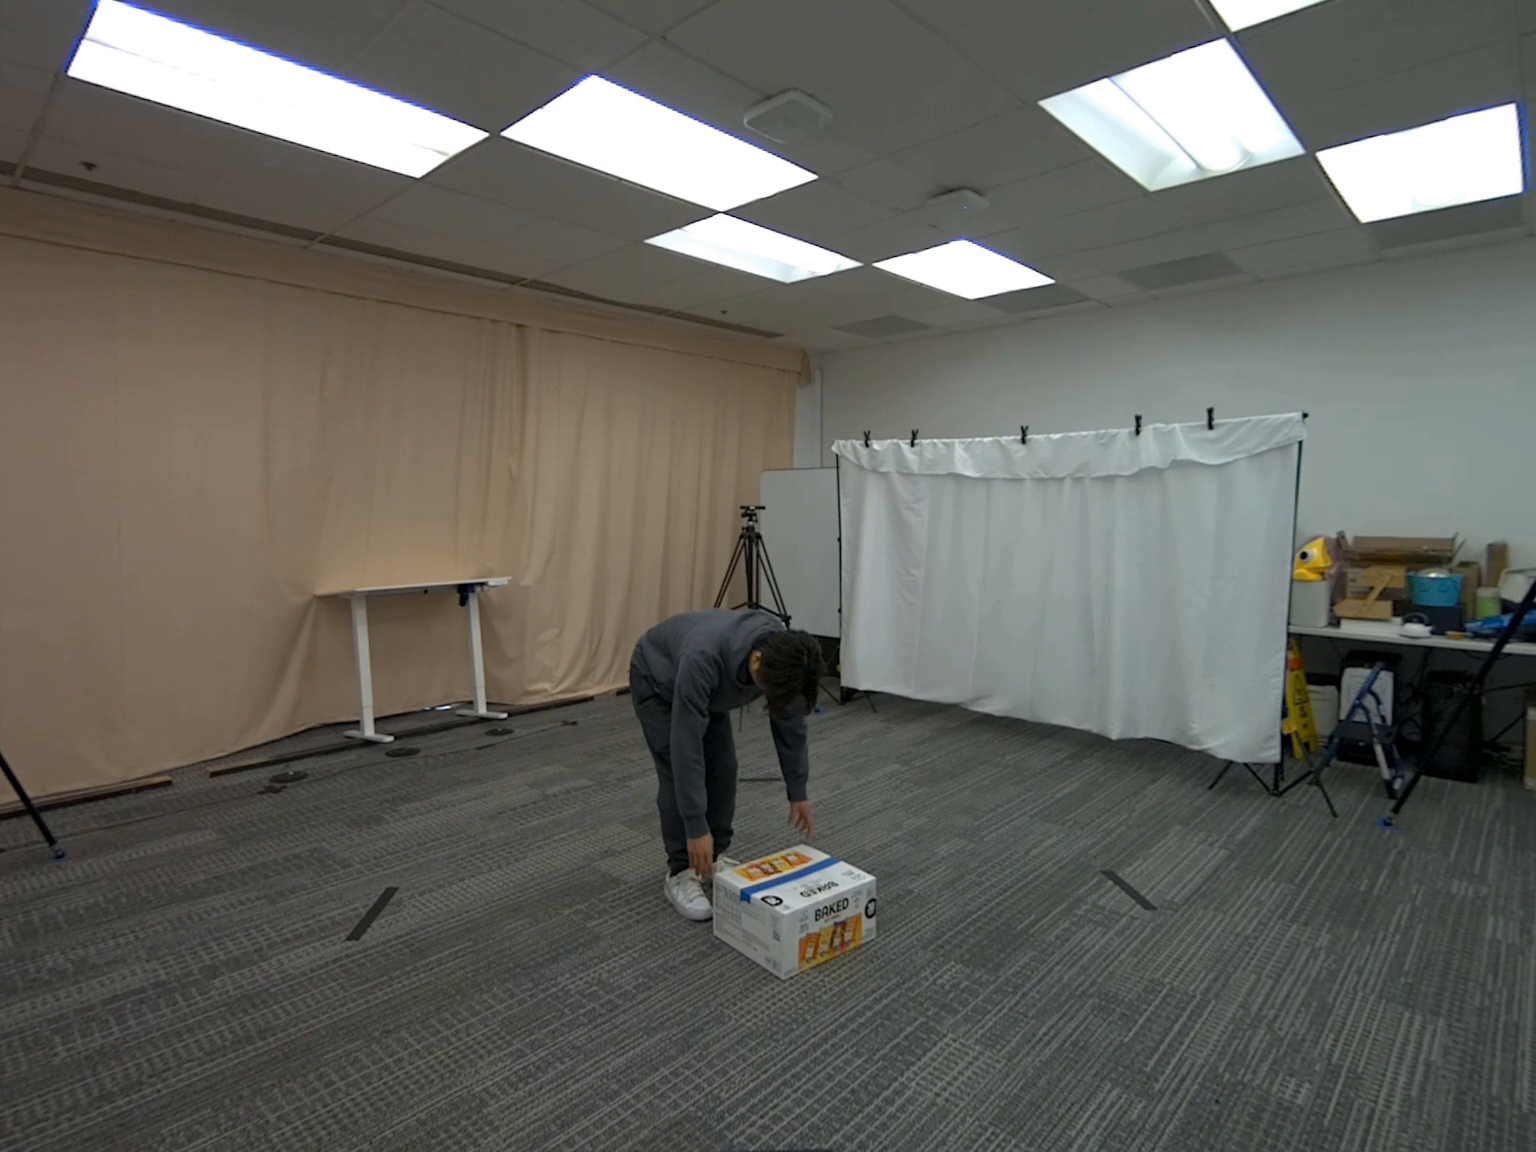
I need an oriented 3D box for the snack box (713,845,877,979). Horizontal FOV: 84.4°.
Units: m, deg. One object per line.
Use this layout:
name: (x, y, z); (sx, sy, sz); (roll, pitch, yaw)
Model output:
snack box: (0.091, 1.067, 2.707); (0.393, 0.205, 0.351); (-4, 5, -40)
